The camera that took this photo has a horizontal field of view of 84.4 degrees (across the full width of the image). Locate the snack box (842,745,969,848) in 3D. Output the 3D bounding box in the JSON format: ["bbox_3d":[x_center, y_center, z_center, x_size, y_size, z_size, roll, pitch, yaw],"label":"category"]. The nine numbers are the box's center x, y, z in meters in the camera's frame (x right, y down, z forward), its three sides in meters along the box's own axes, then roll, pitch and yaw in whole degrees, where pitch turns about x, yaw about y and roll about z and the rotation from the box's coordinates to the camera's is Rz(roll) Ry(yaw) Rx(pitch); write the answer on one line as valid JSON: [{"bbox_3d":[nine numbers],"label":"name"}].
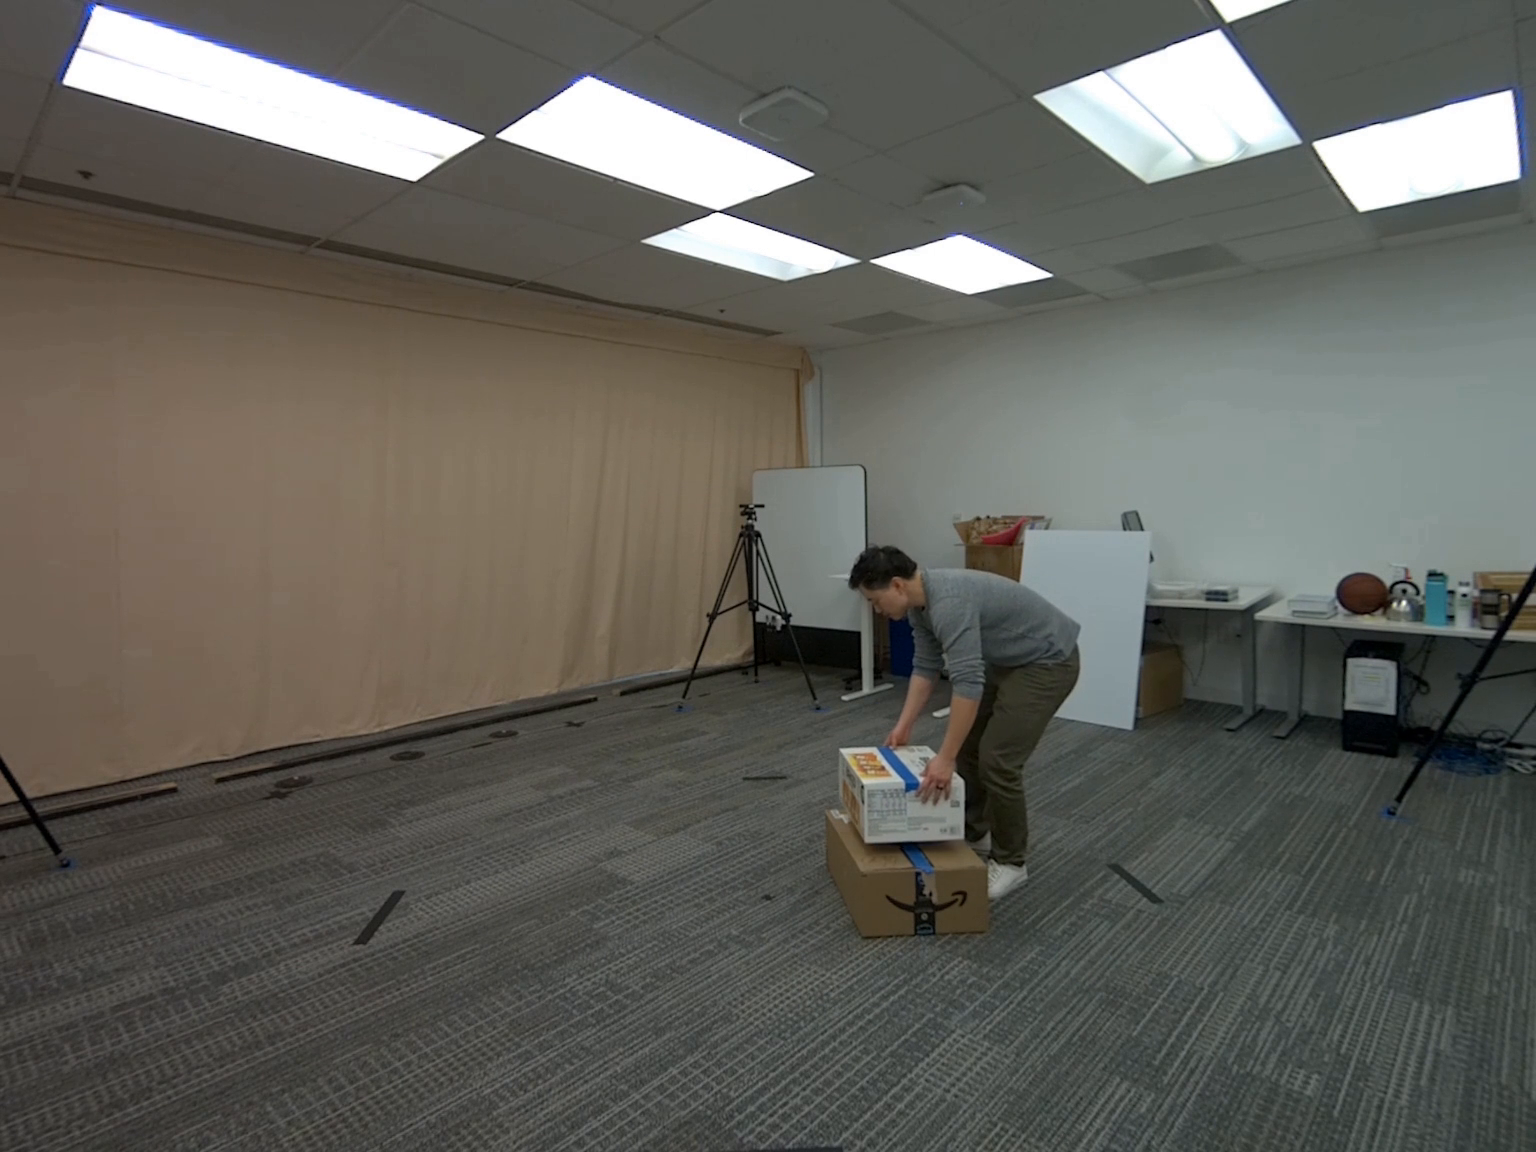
[{"bbox_3d":[0.474,0.767,3.001,0.338,0.205,0.409,-2,5,-6],"label":"snack box"}]
